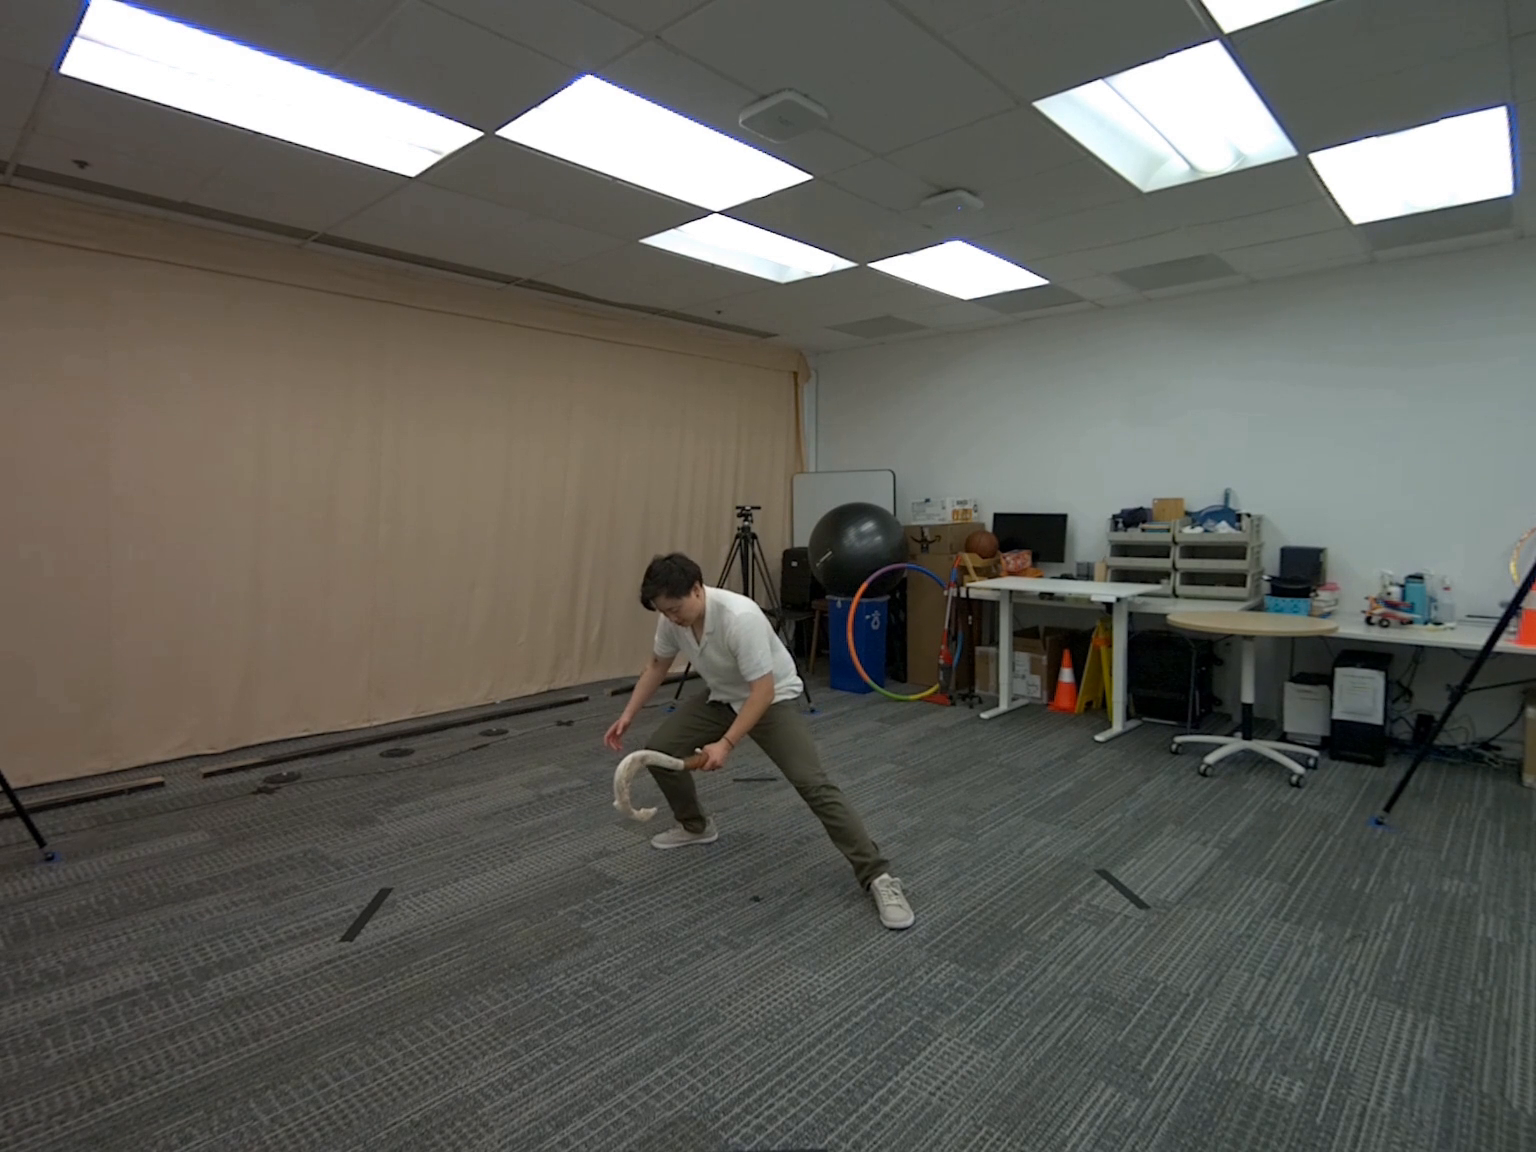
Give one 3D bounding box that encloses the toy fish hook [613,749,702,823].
[{"bbox_3d":[-0.331,0.689,2.812,0.050,0.225,0.489,4,-3,40],"label":"toy fish hook"}]
